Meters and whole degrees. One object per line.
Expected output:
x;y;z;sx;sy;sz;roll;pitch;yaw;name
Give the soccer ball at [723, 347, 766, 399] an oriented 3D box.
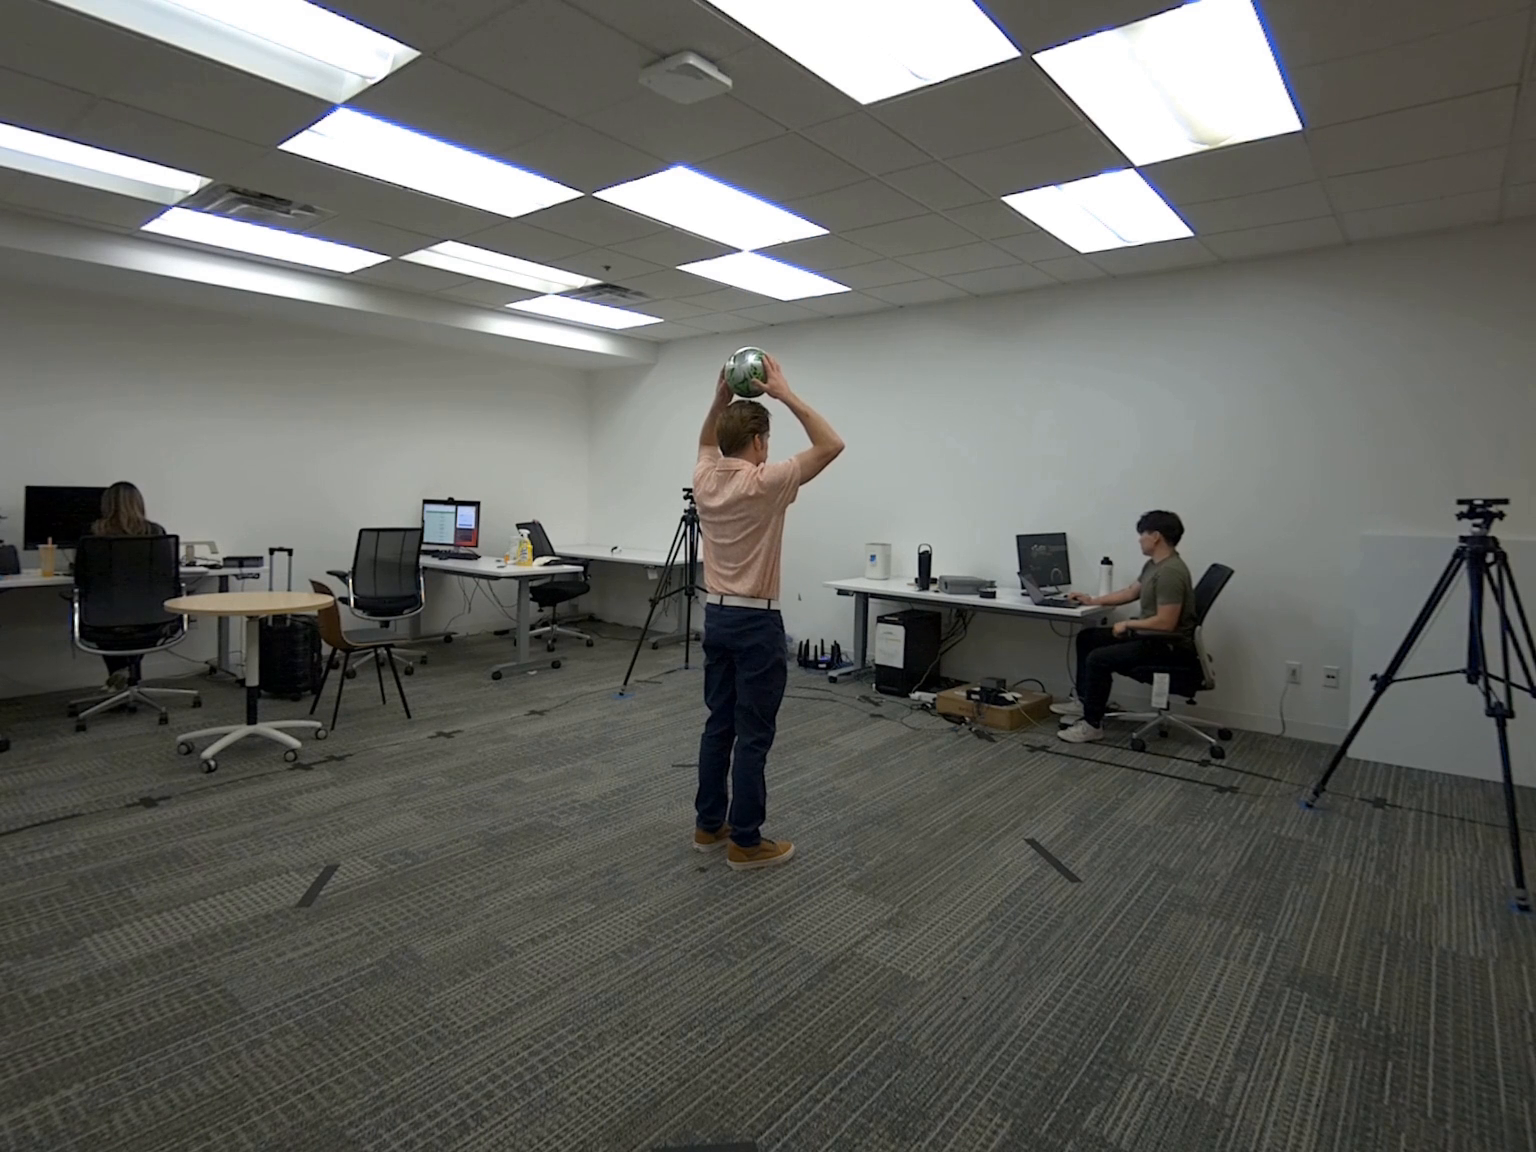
-0.084;-0.759;3.190;0.187;0.187;0.188;1;4;-2;soccer ball
